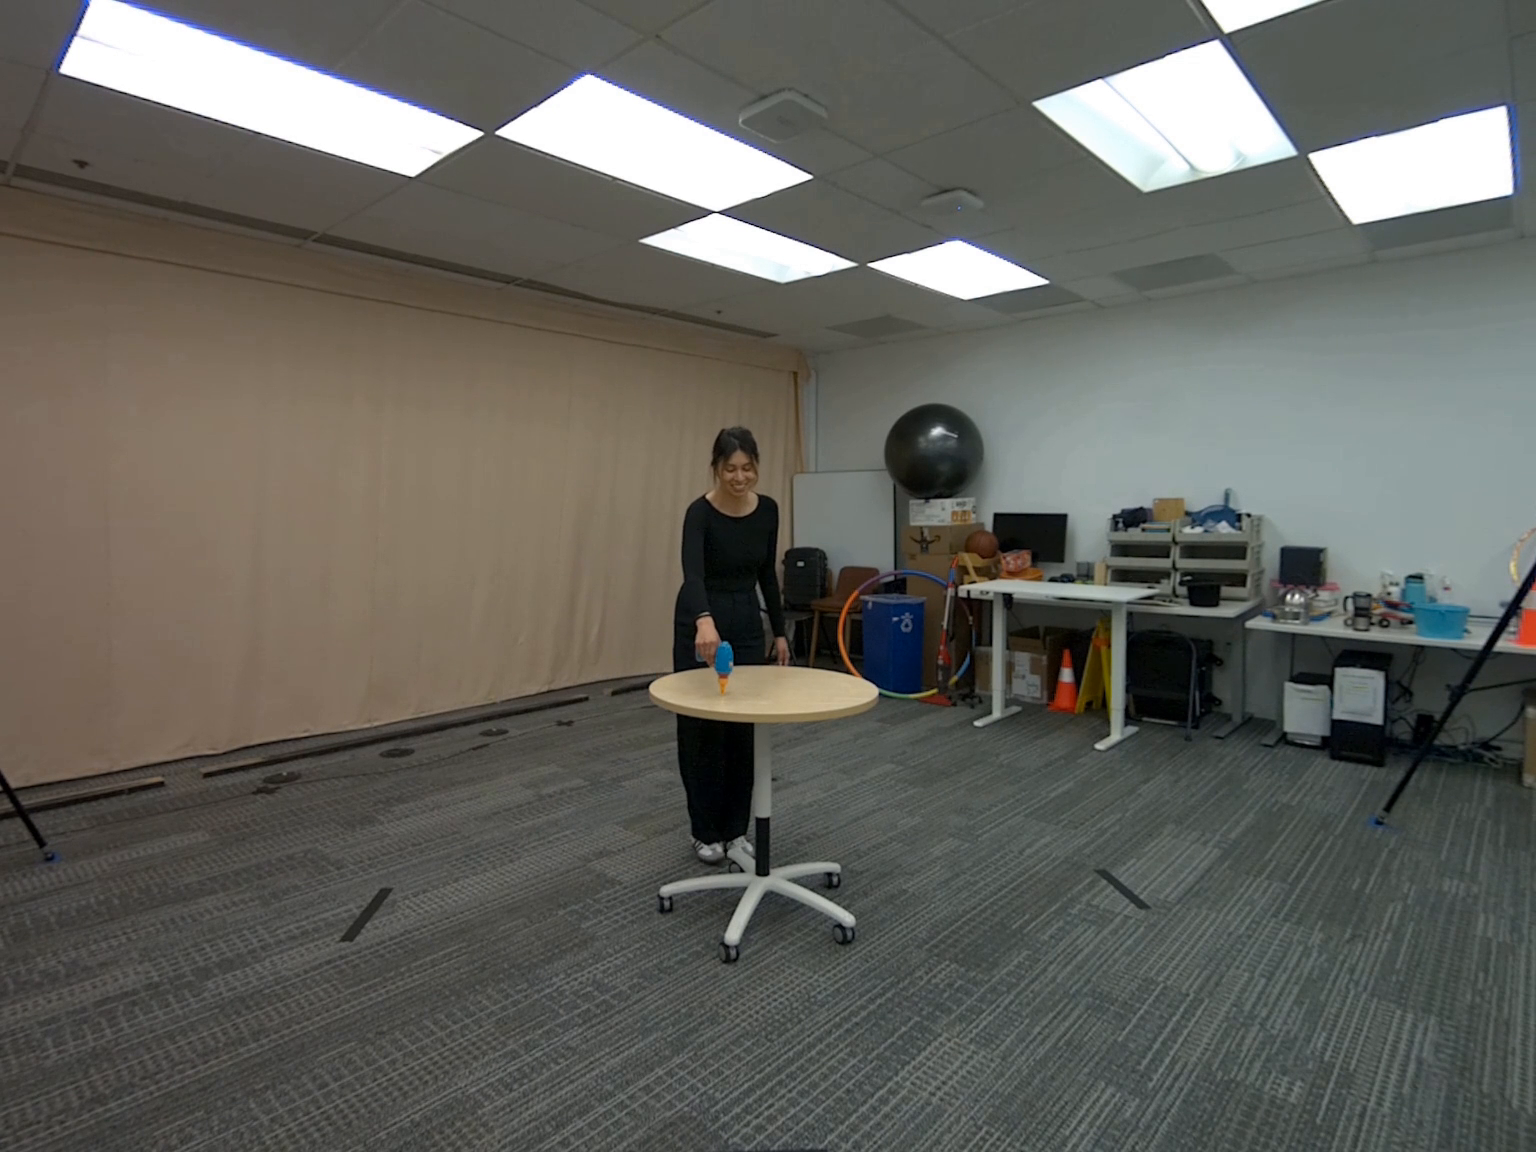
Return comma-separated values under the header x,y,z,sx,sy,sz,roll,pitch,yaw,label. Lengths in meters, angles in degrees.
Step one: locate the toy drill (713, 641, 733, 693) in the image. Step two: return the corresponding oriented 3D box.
x,y,z,sx,sy,sz,roll,pitch,yaw,label
-0.172,0.288,2.704,0.059,0.169,0.151,0,8,-44,toy drill
